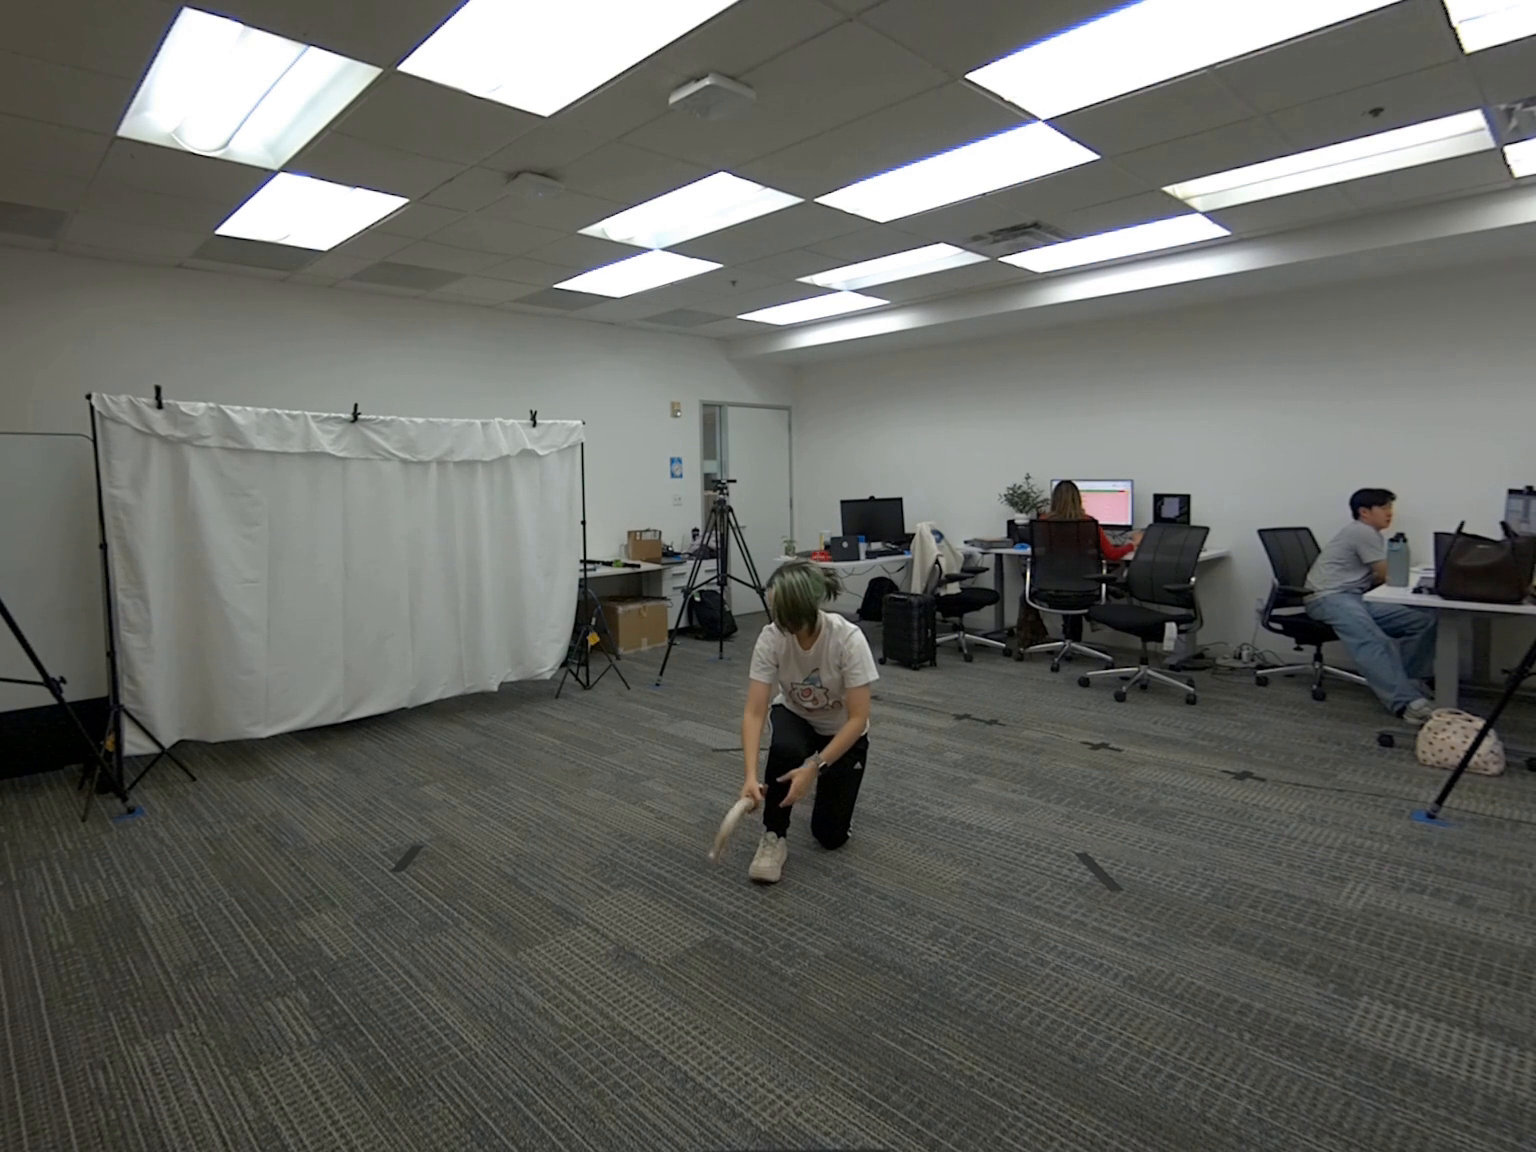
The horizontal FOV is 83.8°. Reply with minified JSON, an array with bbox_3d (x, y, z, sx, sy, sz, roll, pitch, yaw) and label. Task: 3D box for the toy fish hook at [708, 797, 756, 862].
[{"bbox_3d":[-0.098,0.790,2.734,0.049,0.224,0.498,32,5,12],"label":"toy fish hook"}]
